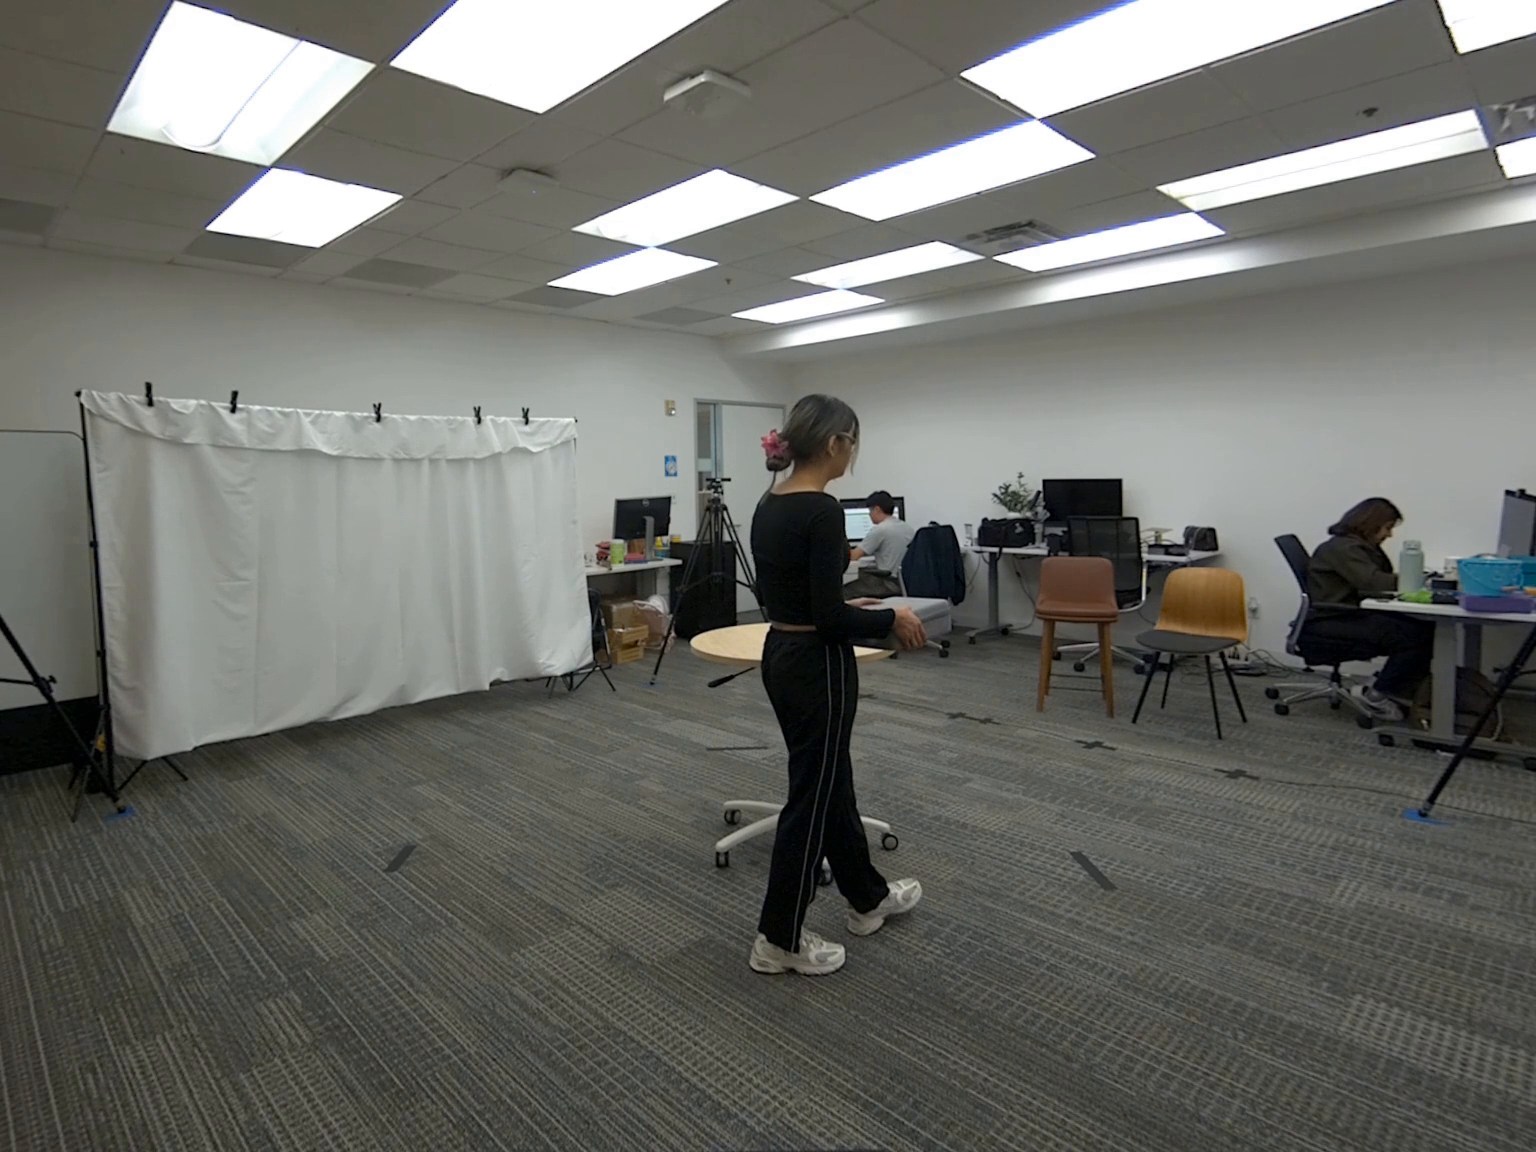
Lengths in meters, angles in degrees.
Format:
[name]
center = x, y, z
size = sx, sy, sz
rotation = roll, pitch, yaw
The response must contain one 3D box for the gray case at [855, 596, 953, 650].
[gray case]
center = 0.370, 0.137, 2.548
size = 0.257, 0.103, 0.263
rotation = -13, 10, -20
